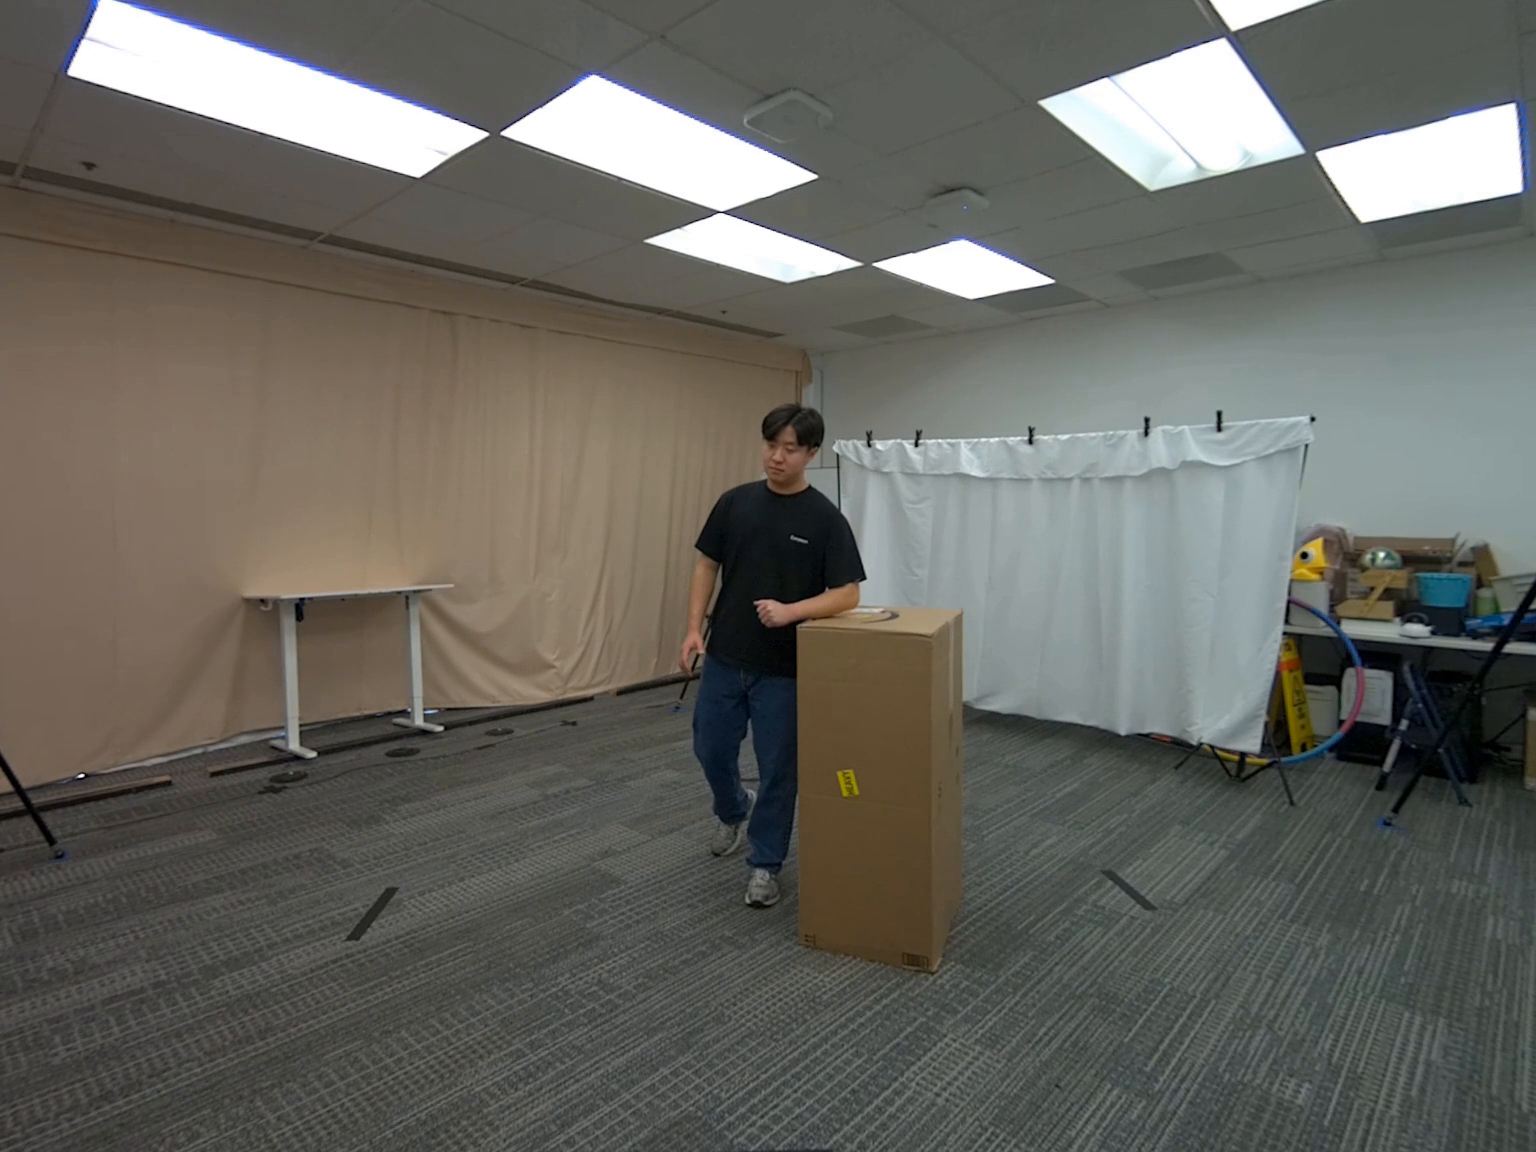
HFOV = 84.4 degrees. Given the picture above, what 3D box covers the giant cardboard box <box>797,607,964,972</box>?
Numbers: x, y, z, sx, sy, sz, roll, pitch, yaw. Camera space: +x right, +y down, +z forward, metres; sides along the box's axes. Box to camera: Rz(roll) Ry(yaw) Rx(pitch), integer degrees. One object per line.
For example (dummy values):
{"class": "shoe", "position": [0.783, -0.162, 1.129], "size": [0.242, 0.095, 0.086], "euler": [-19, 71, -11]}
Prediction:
{"class": "giant cardboard box", "position": [0.398, 0.644, 2.813], "size": [0.458, 1.025, 0.570], "euler": [0, 3, 25]}
